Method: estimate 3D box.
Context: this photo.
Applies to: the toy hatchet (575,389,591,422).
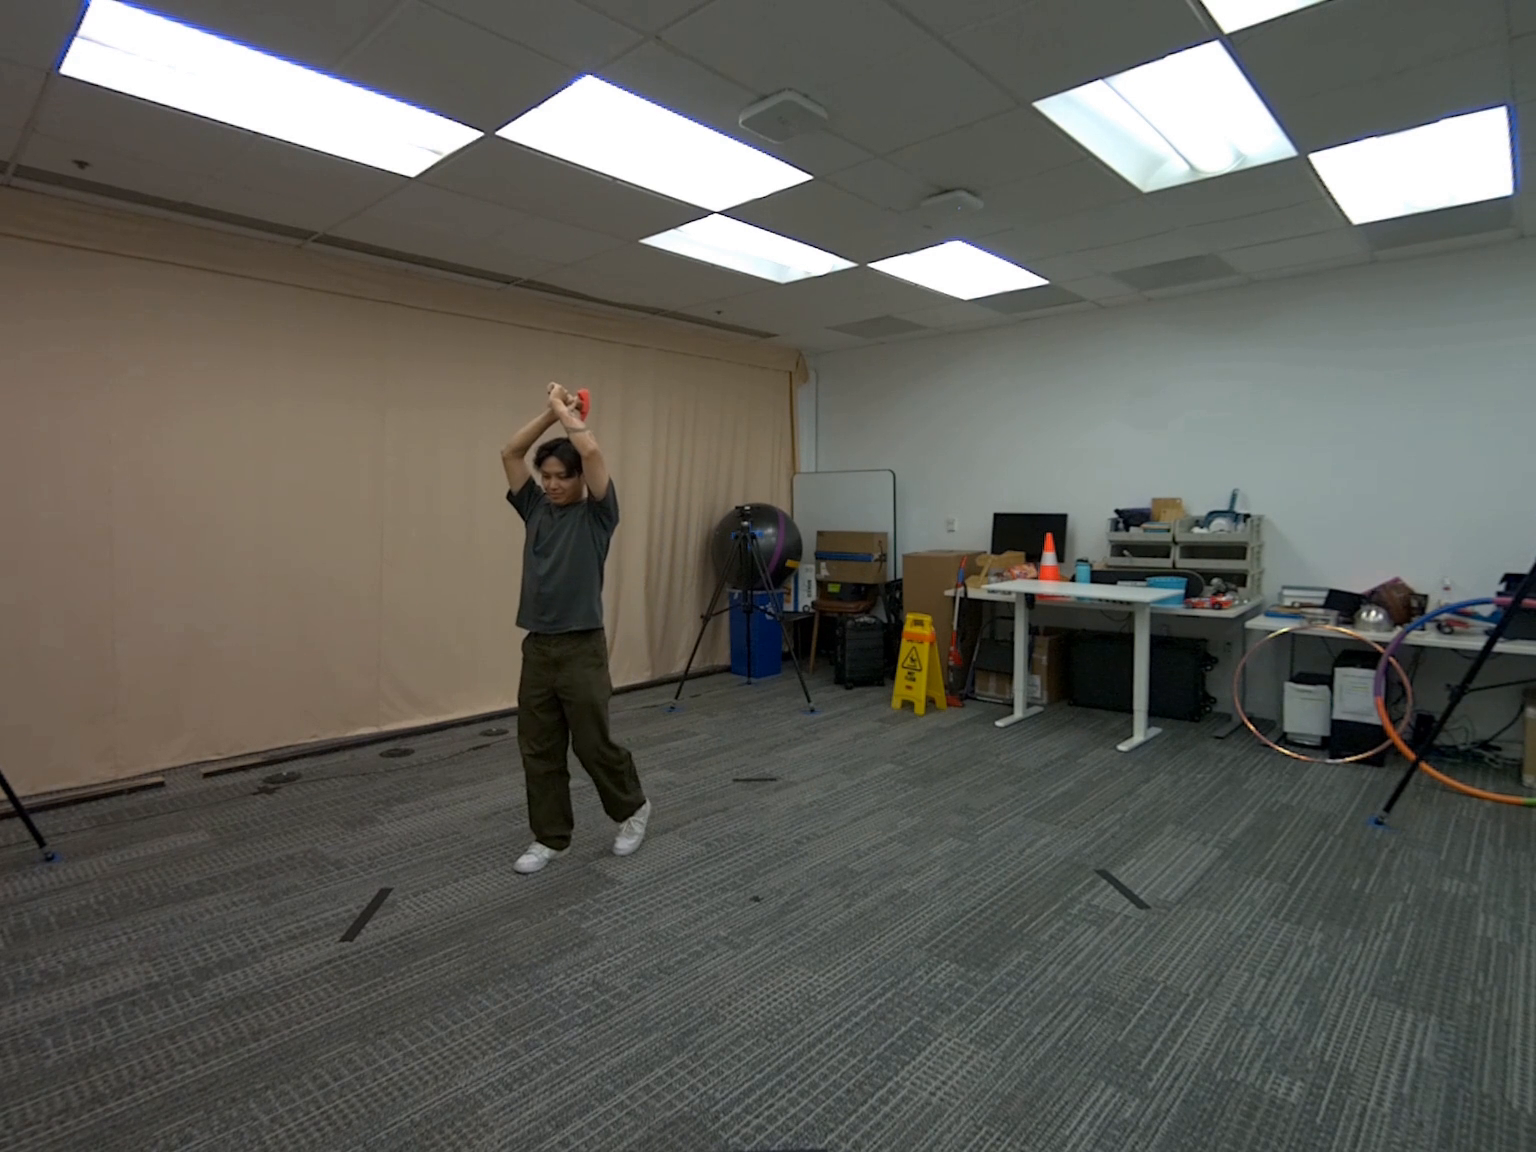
[{"bbox_3d":[-0.767,-0.707,3.298,0.030,0.131,0.263,13,-11,19],"label":"toy hatchet"}]
